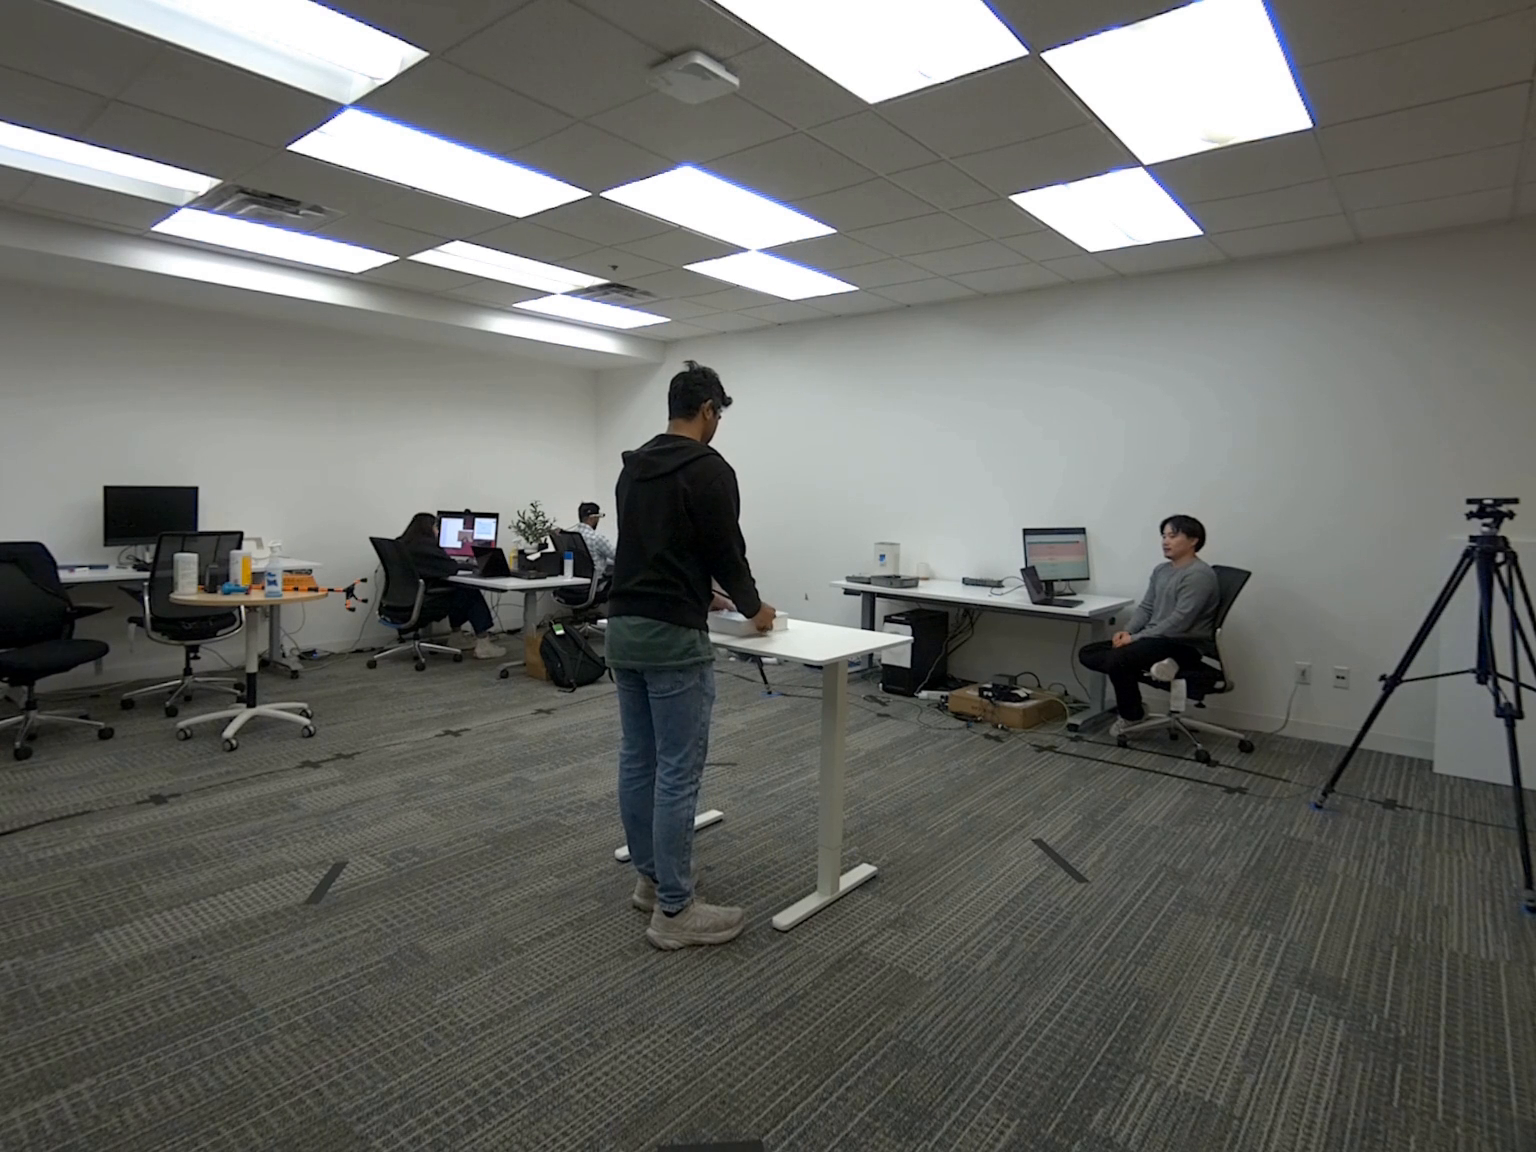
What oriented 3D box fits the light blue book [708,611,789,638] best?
[{"bbox_3d":[-0.081,0.159,3.054,0.198,0.058,0.253,9,11,41],"label":"light blue book"}]
